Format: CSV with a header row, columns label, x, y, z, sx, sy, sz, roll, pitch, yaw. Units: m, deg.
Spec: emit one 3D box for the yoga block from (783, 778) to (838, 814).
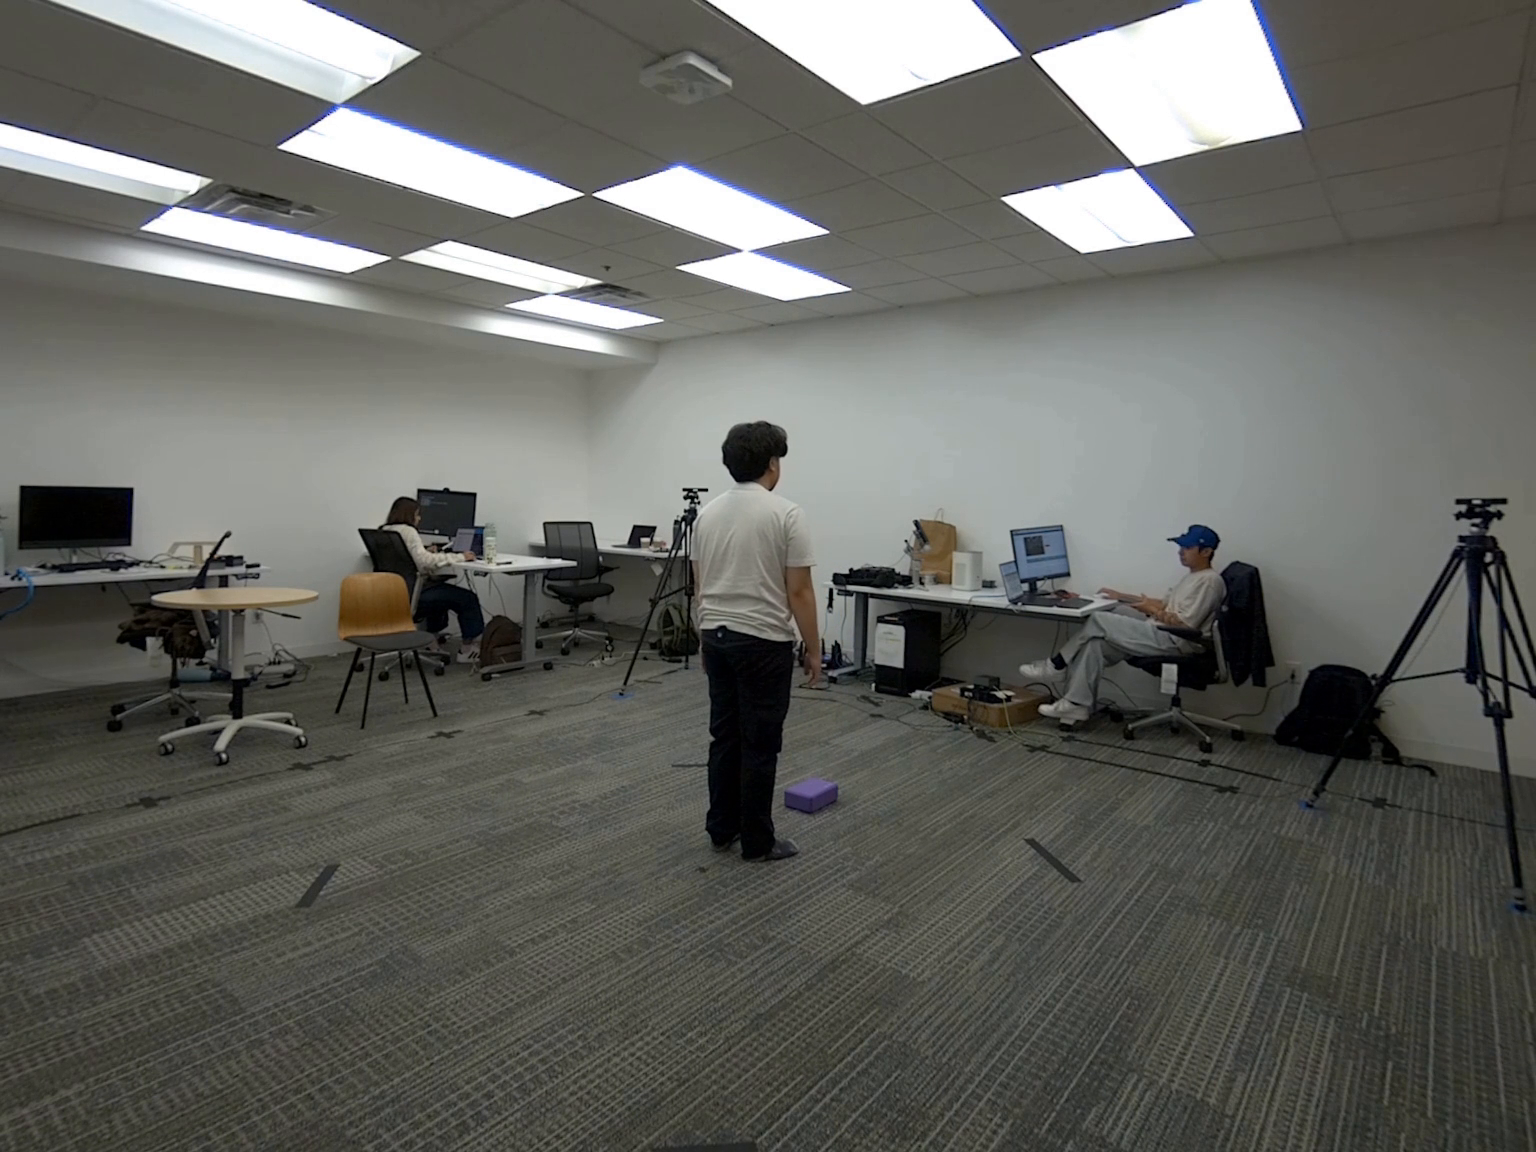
label,x,y,z,sx,sy,sz,roll,pitch,yaw
yoga block,0.184,0.970,3.794,0.154,0.076,0.223,4,6,38
